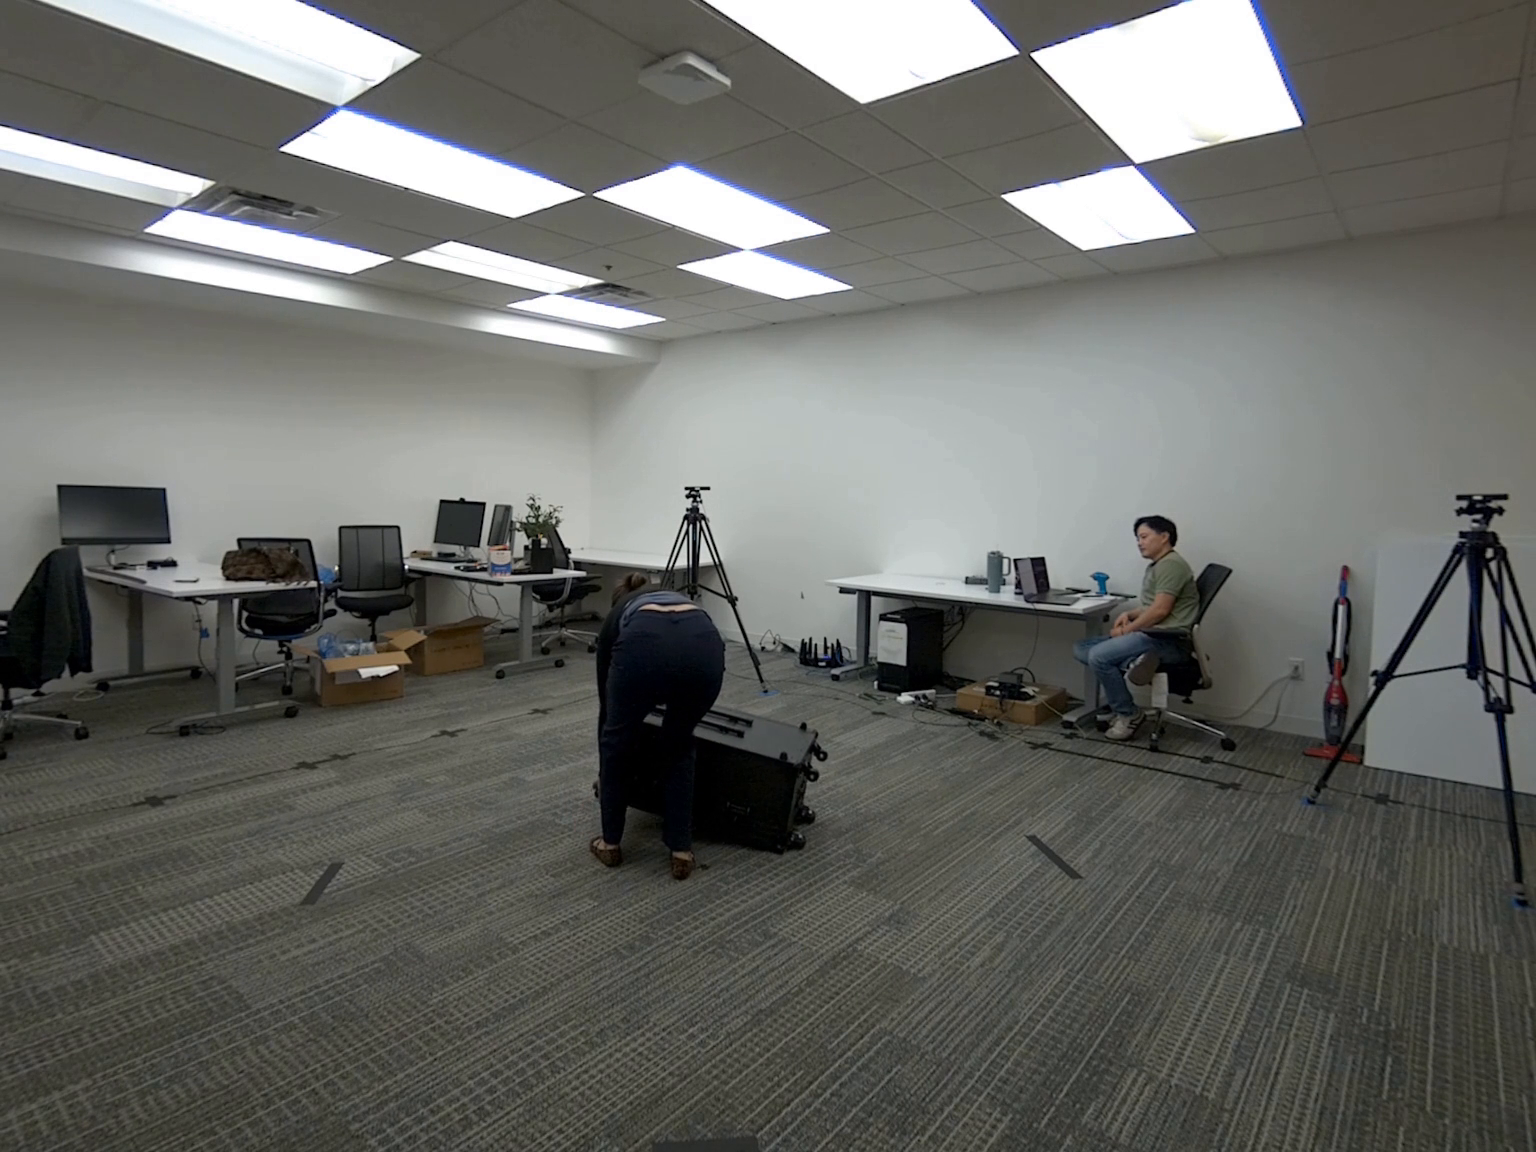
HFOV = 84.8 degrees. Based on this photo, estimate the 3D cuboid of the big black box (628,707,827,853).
[{"bbox_3d":[-0.205,0.771,3.537,0.876,0.394,0.515,13,7,13],"label":"big black box"}]
